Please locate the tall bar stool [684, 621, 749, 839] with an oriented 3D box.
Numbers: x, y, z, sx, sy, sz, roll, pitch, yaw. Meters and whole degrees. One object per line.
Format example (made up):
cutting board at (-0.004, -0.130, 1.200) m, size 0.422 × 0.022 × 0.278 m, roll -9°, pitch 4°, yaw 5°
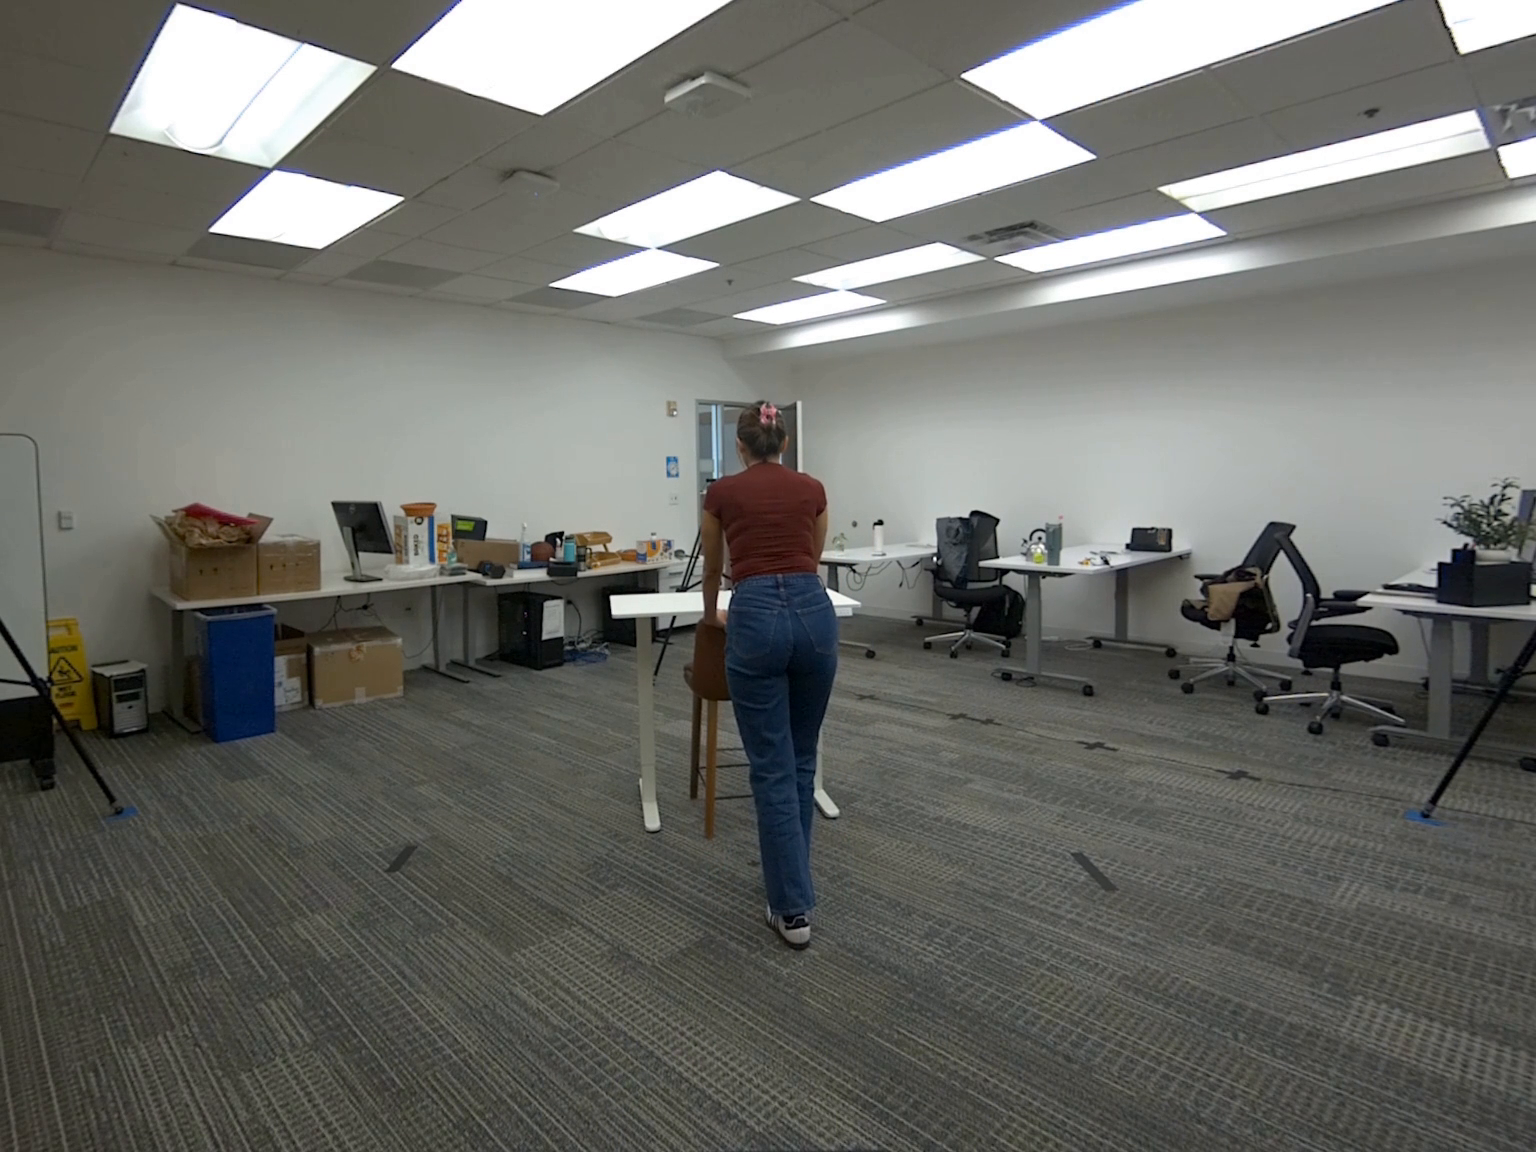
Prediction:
tall bar stool at (-0.104, 0.567, 3.534) m, size 0.453 × 0.885 × 0.474 m, roll 0°, pitch 6°, yaw -9°
